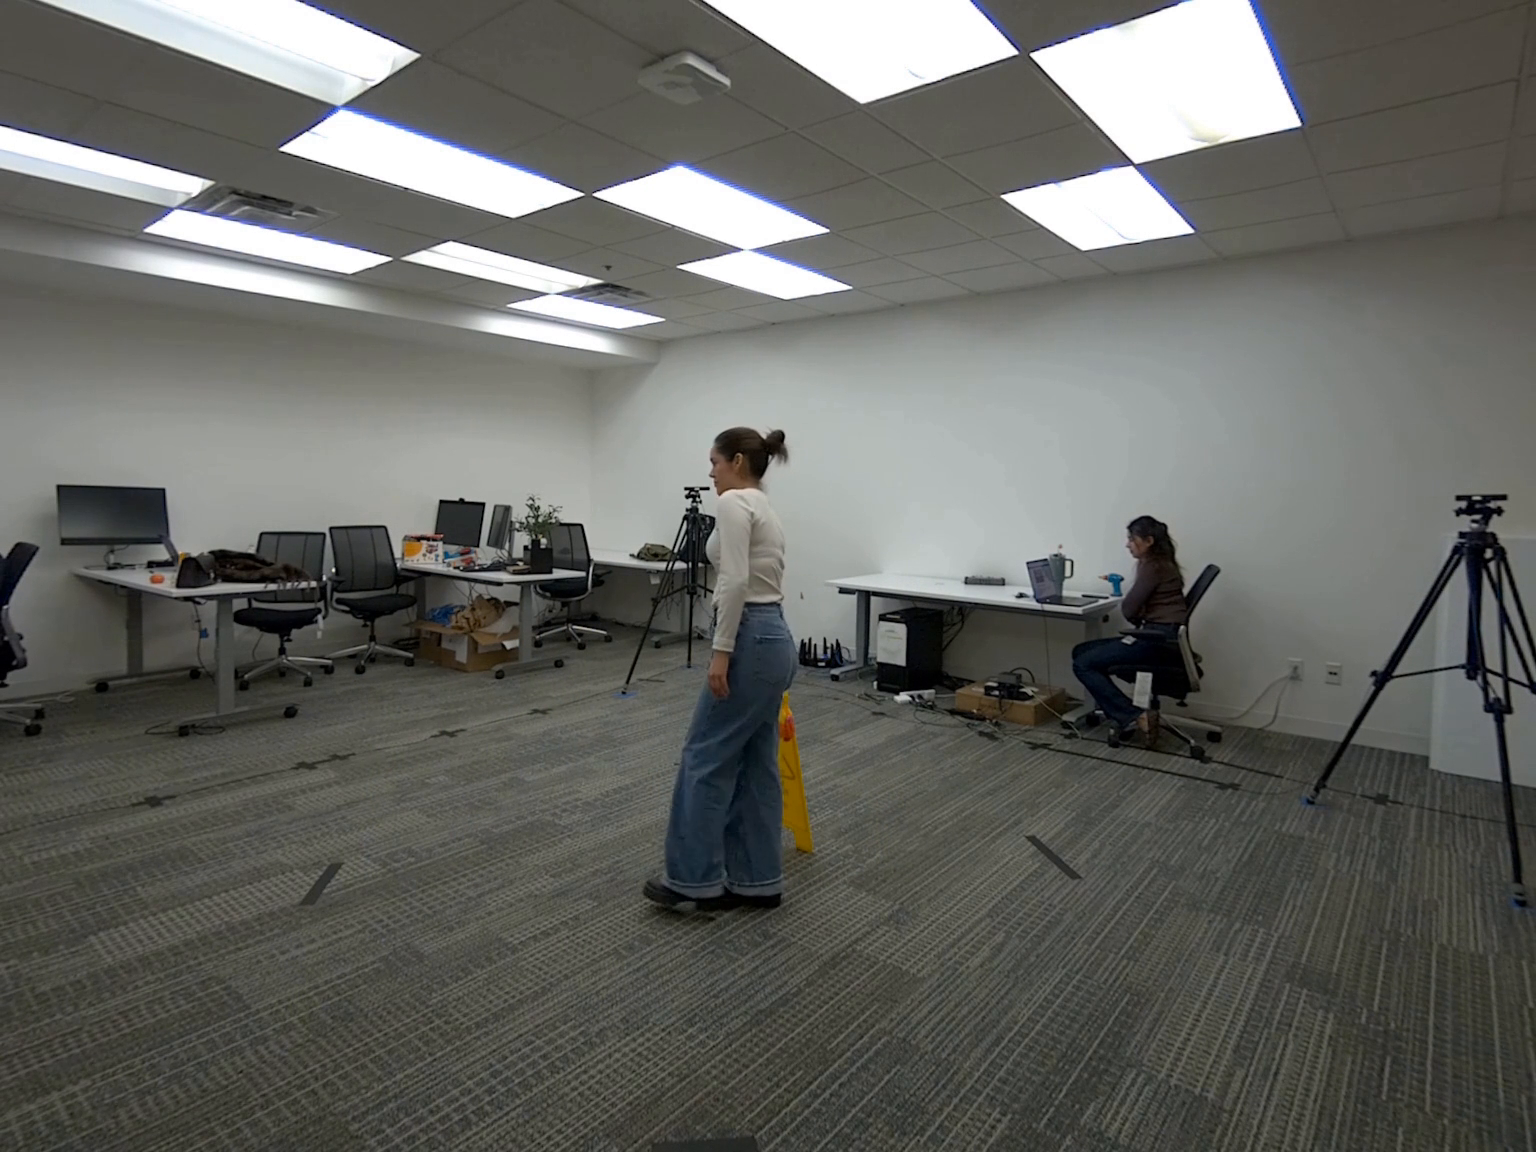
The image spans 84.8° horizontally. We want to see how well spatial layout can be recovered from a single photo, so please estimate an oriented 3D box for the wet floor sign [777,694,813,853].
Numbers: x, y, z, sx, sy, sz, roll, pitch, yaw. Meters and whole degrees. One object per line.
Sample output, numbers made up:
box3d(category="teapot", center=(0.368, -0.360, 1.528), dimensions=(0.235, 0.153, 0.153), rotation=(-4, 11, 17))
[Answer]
box3d(category="wet floor sign", center=(-0.020, 0.727, 3.234), dimensions=(0.292, 0.644, 0.281), rotation=(4, 4, 39))
